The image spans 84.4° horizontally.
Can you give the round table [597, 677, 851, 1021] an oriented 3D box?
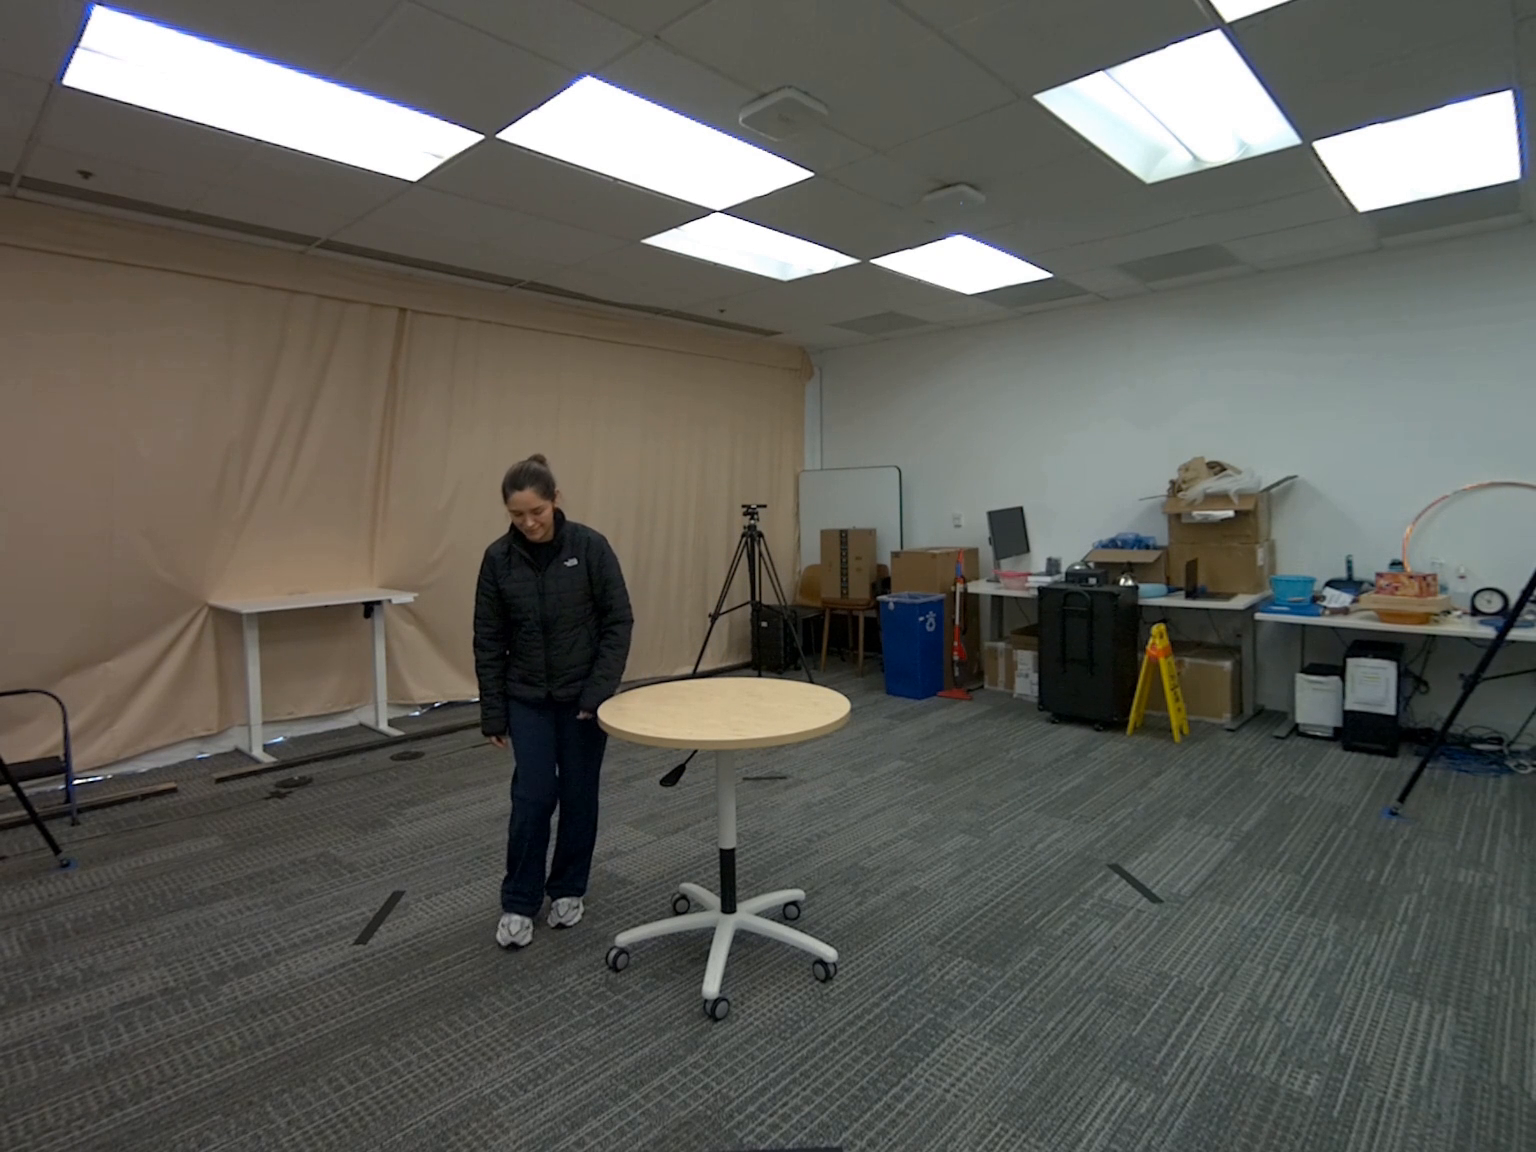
[{"bbox_3d":[-0.094,0.781,2.593,0.784,0.784,0.788,-2,4,-2],"label":"round table"}]
